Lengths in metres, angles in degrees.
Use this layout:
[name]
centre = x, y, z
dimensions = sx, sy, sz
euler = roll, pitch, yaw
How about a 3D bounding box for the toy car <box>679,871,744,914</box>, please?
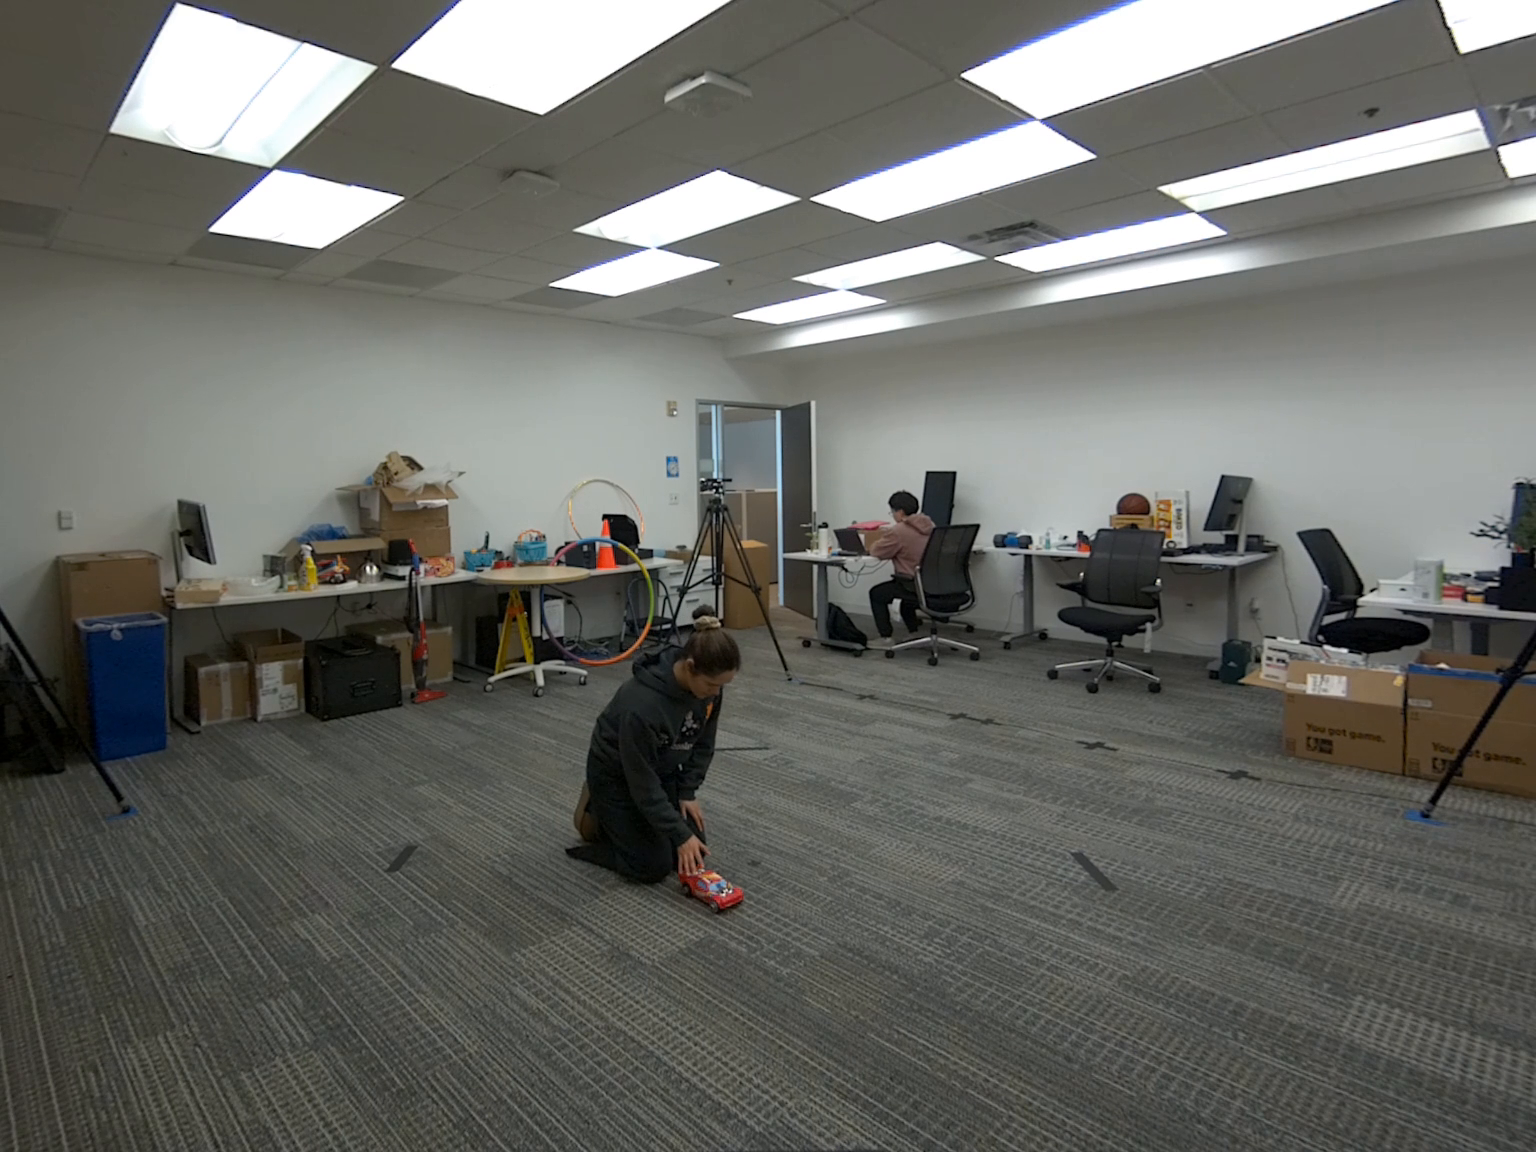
[toy car]
centre = -0.199, 1.046, 2.847
dimensions = 0.127, 0.082, 0.264
euler = -7, 19, -40
